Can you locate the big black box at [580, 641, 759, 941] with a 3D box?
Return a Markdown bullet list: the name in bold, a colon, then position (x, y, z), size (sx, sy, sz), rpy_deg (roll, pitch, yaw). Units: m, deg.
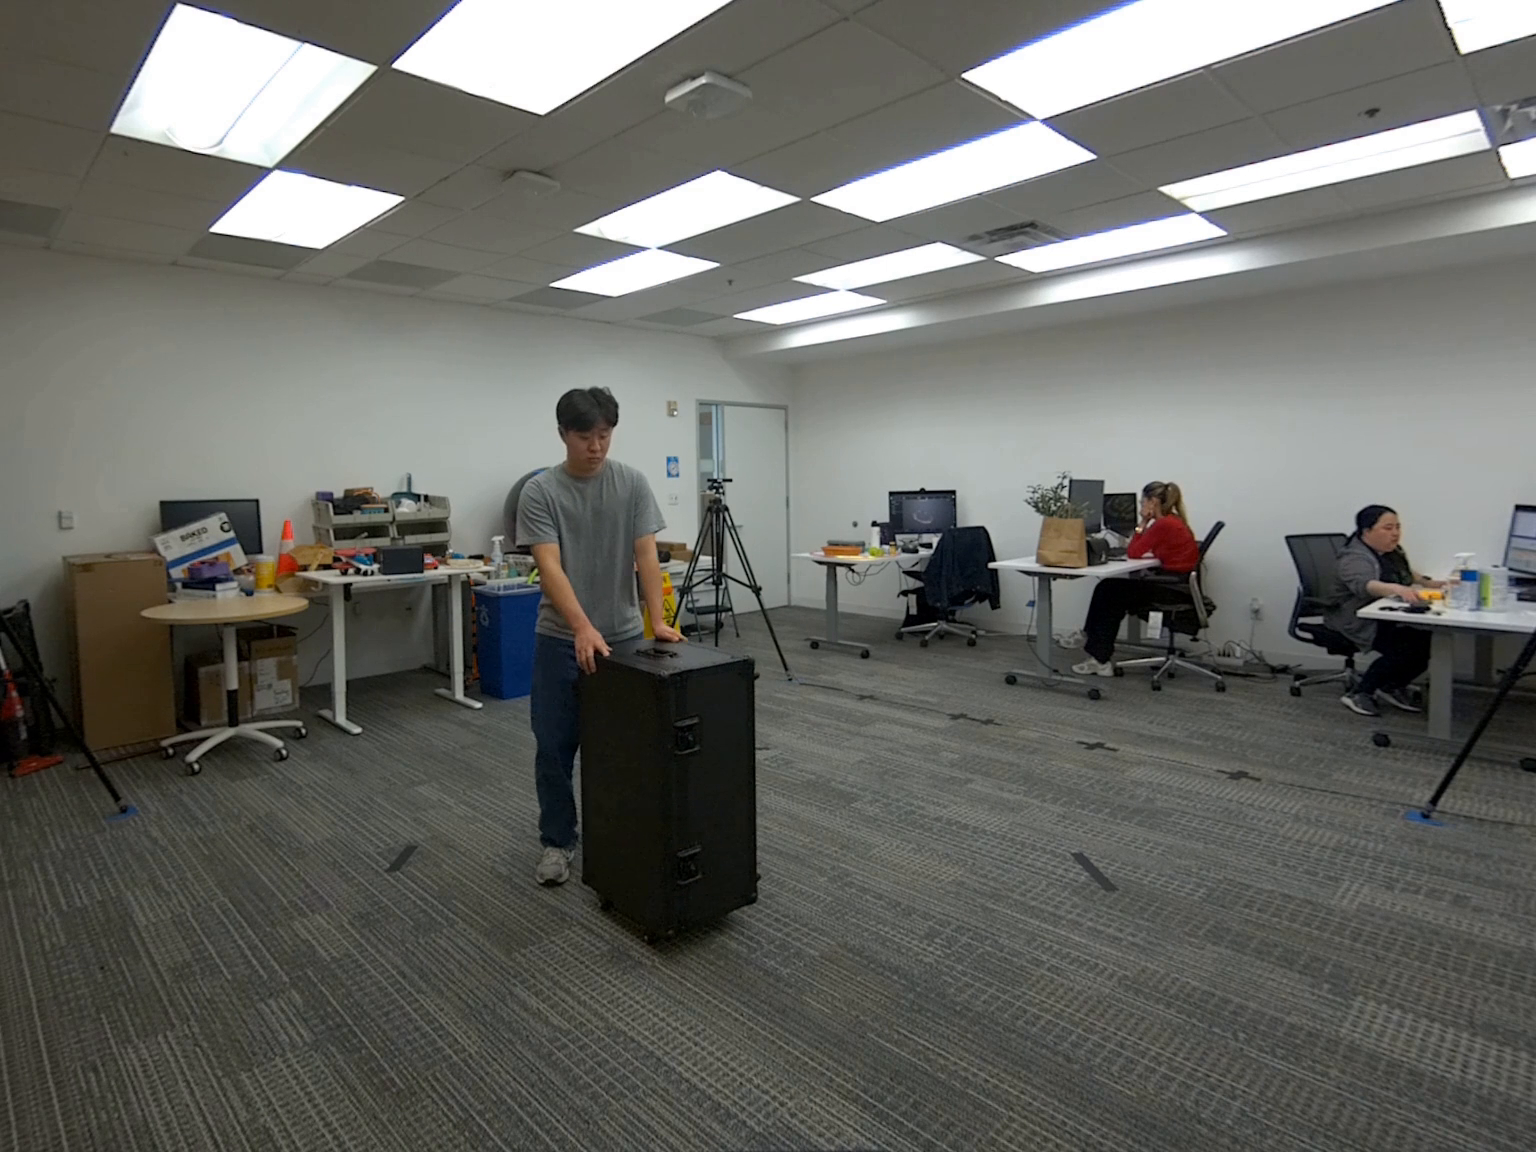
- **big black box**: position (-0.315, 0.672, 2.739), size (0.386, 0.859, 0.537), rpy_deg (-4, 5, -41)
